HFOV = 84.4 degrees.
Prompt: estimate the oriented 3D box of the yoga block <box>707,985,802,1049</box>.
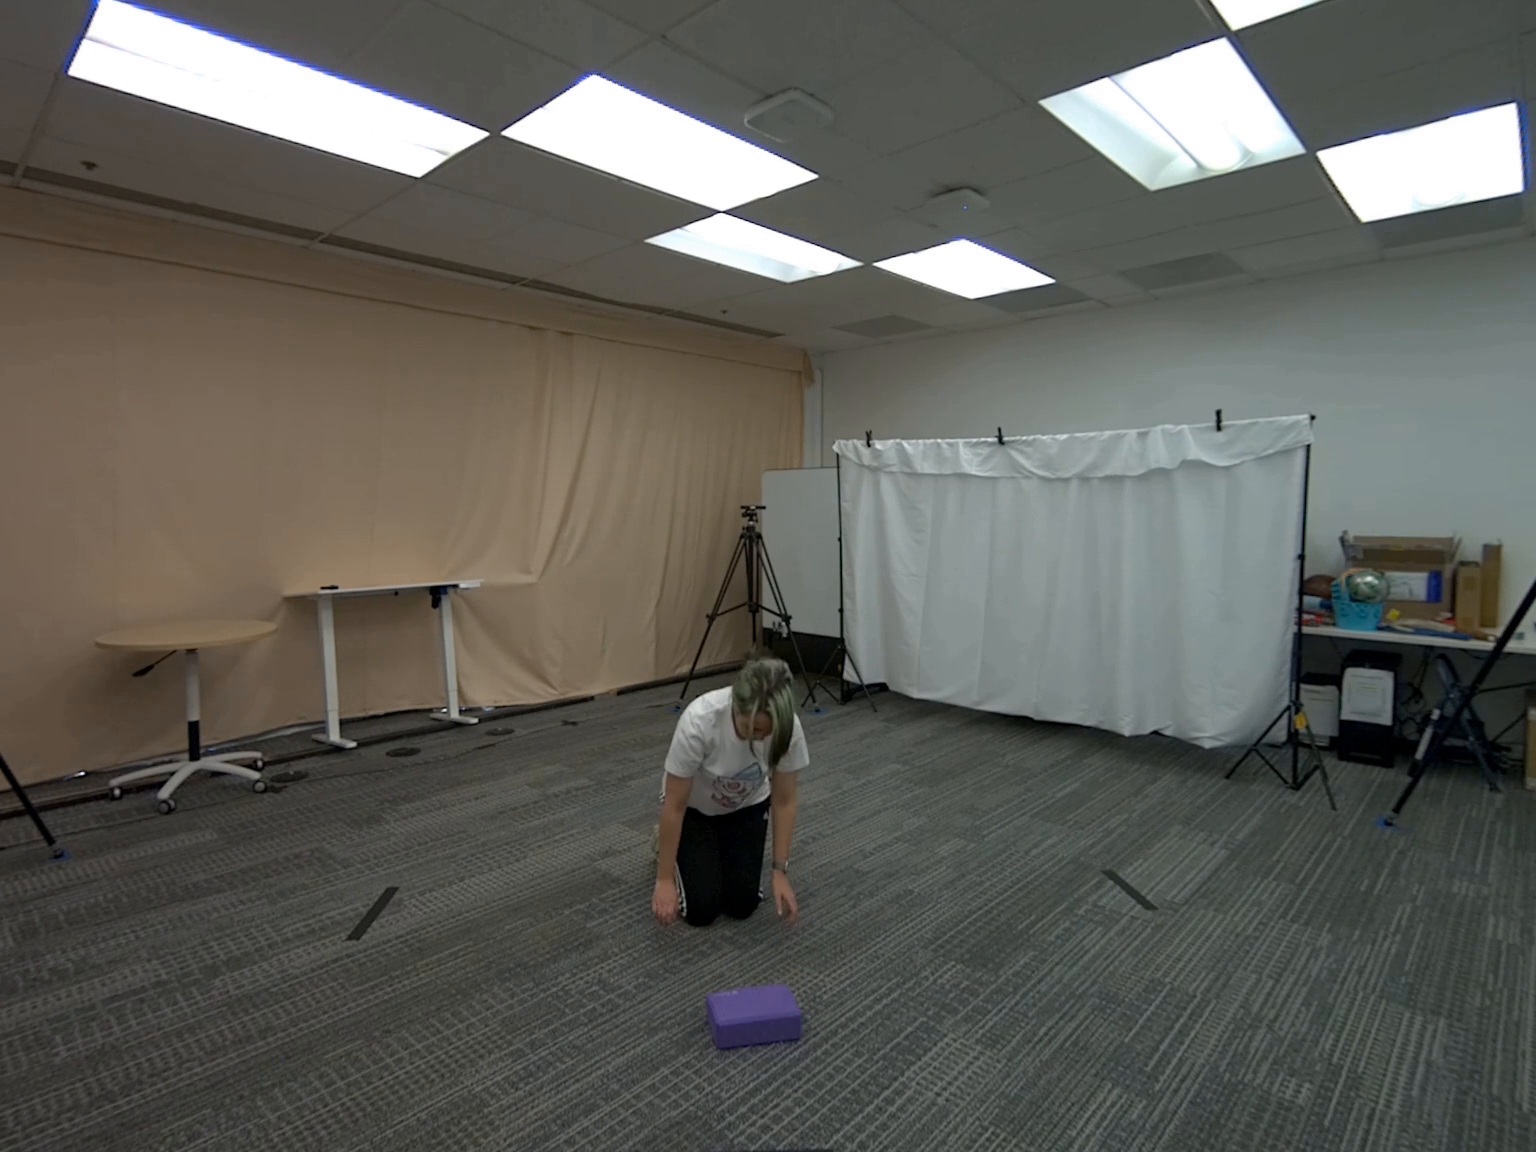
[{"bbox_3d":[-0.039,1.162,2.243,0.226,0.076,0.151,0,4,-12],"label":"yoga block"}]
